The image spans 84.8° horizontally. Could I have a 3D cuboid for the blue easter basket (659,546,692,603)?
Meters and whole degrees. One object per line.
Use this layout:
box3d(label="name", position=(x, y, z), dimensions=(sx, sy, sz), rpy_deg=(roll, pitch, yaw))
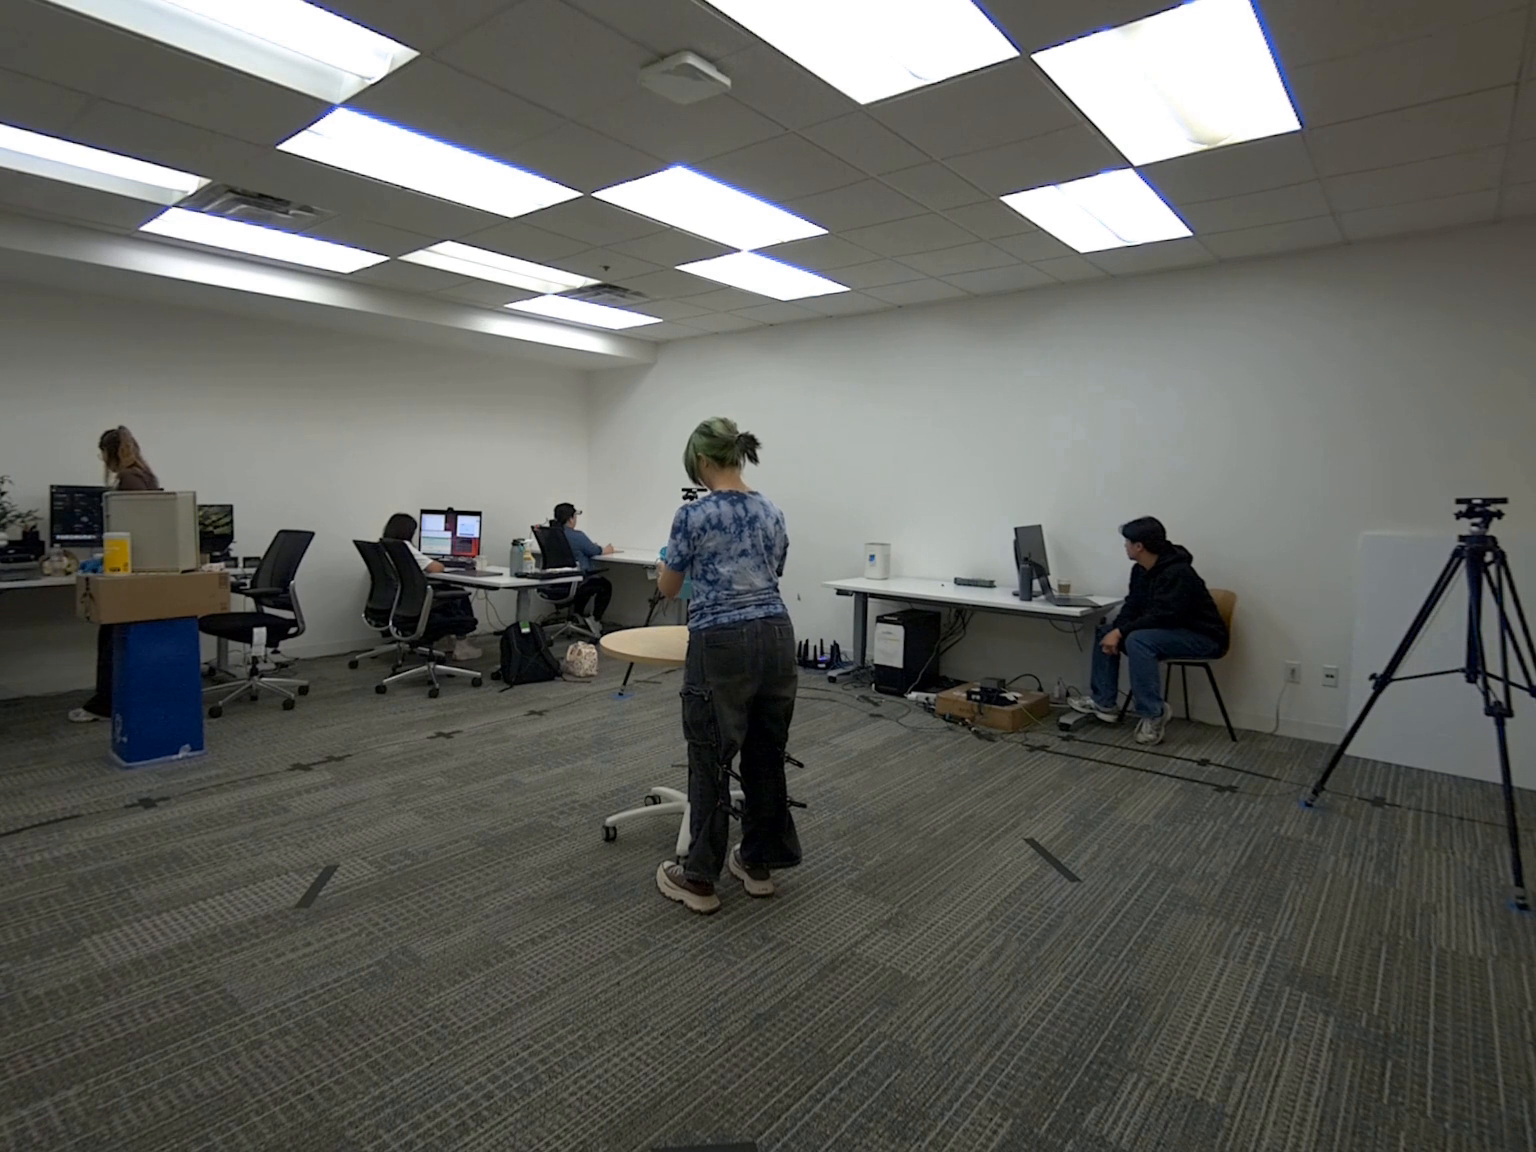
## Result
box3d(label="blue easter basket", position=(-0.340, -0.008, 3.322), dimensions=(0.243, 0.153, 0.248), rpy_deg=(3, 20, -3))
